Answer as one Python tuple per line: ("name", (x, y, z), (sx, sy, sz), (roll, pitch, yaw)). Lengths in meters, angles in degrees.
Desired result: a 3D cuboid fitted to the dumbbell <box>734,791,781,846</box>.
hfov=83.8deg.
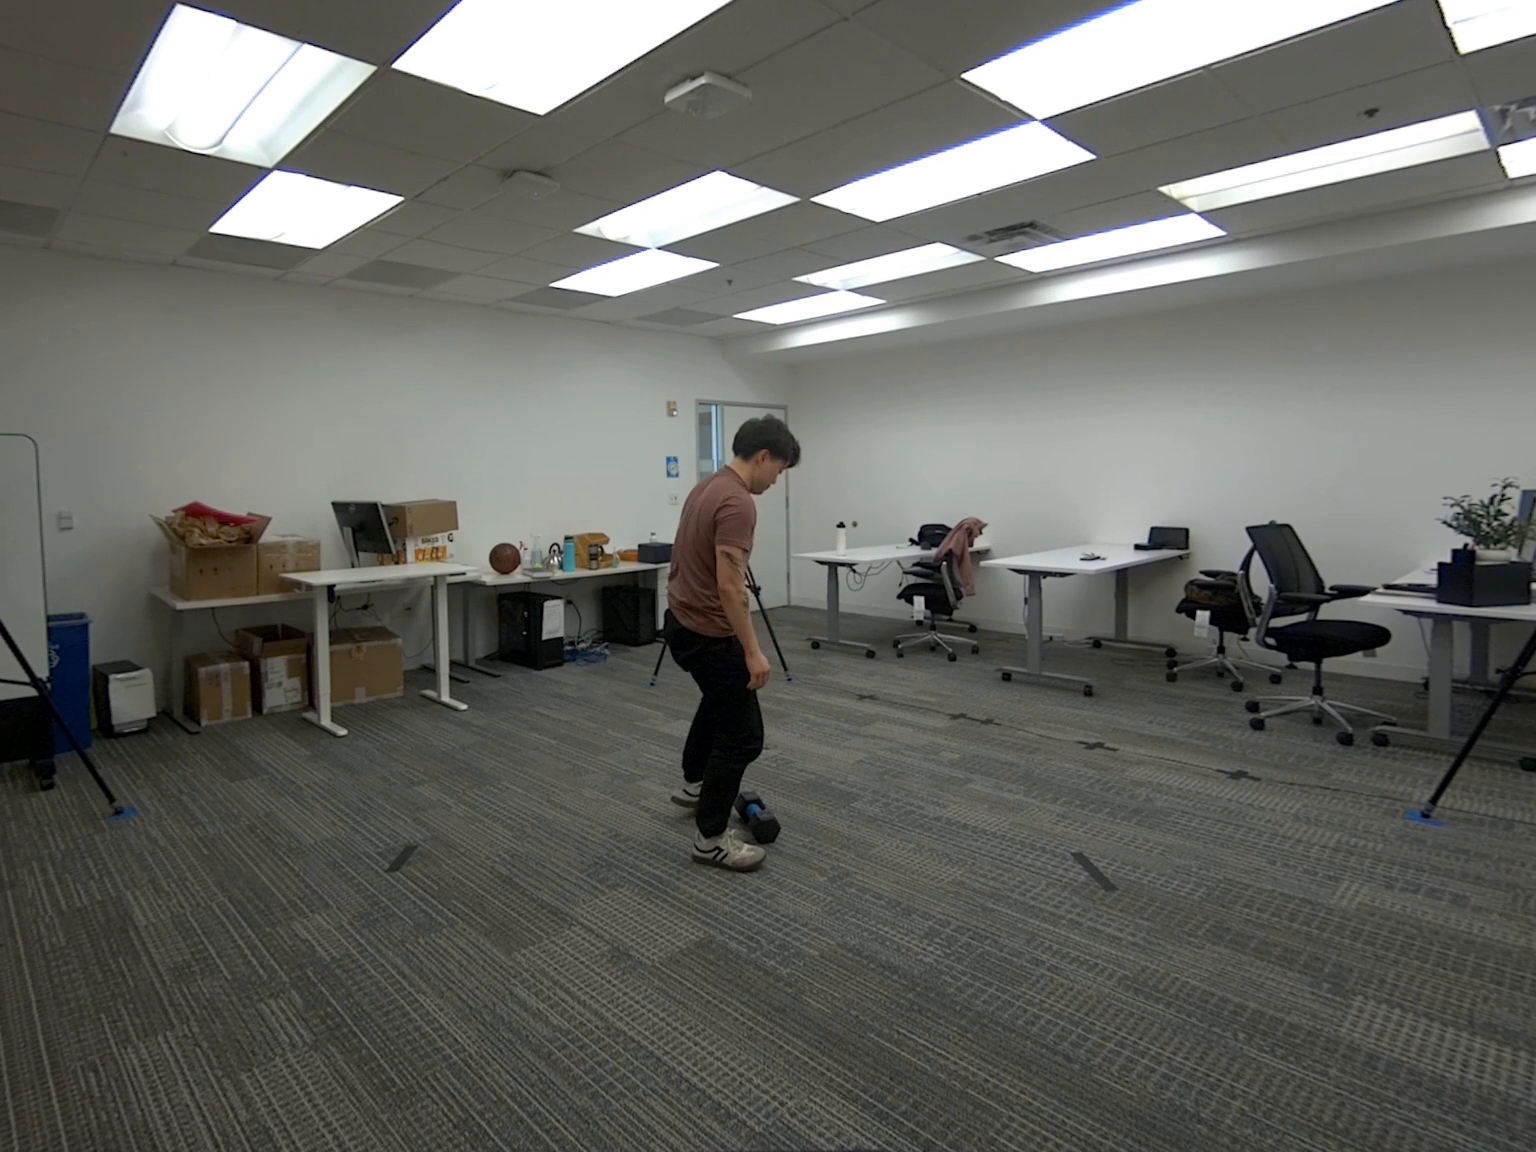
("dumbbell", (-0.038, 0.962, 3.402), (0.121, 0.108, 0.298), (-1, 5, -13))
